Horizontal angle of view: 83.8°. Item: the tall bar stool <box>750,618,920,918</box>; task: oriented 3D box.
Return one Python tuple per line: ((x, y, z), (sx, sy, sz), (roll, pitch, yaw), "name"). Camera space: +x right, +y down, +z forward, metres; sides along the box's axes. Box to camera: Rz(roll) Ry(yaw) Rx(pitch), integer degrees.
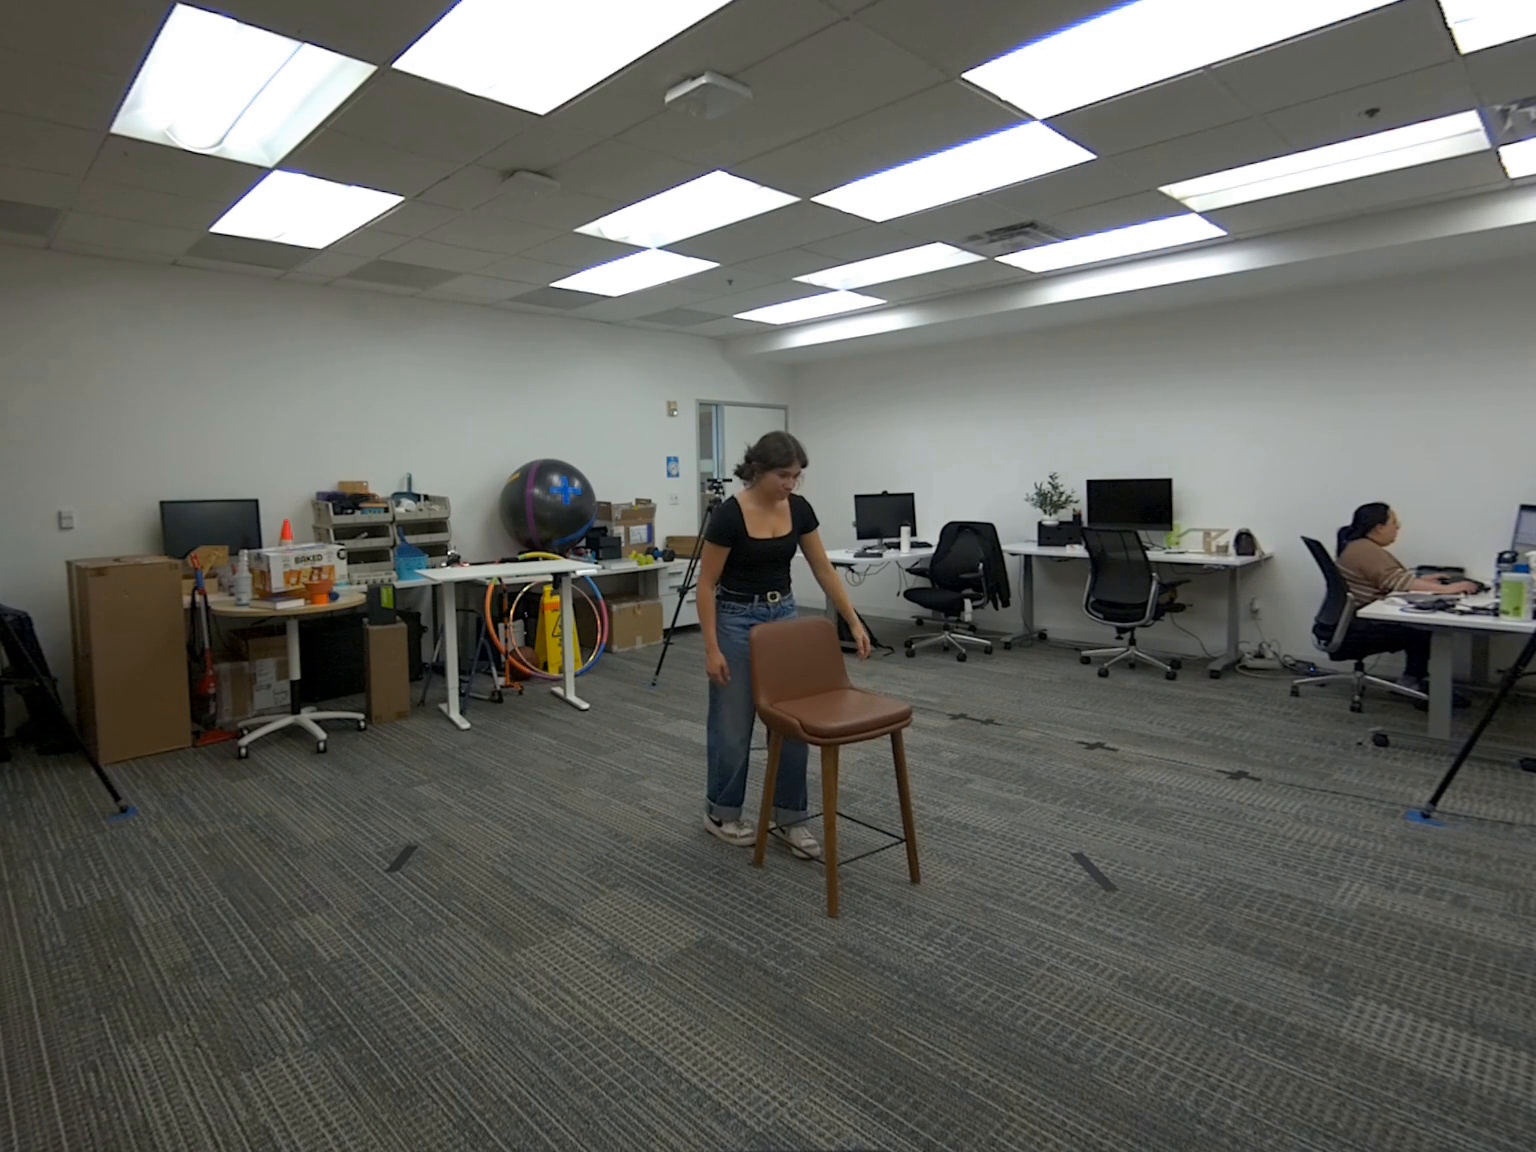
((0.221, 0.620, 2.983), (0.445, 0.888, 0.481), (-3, 3, -36), "tall bar stool")
